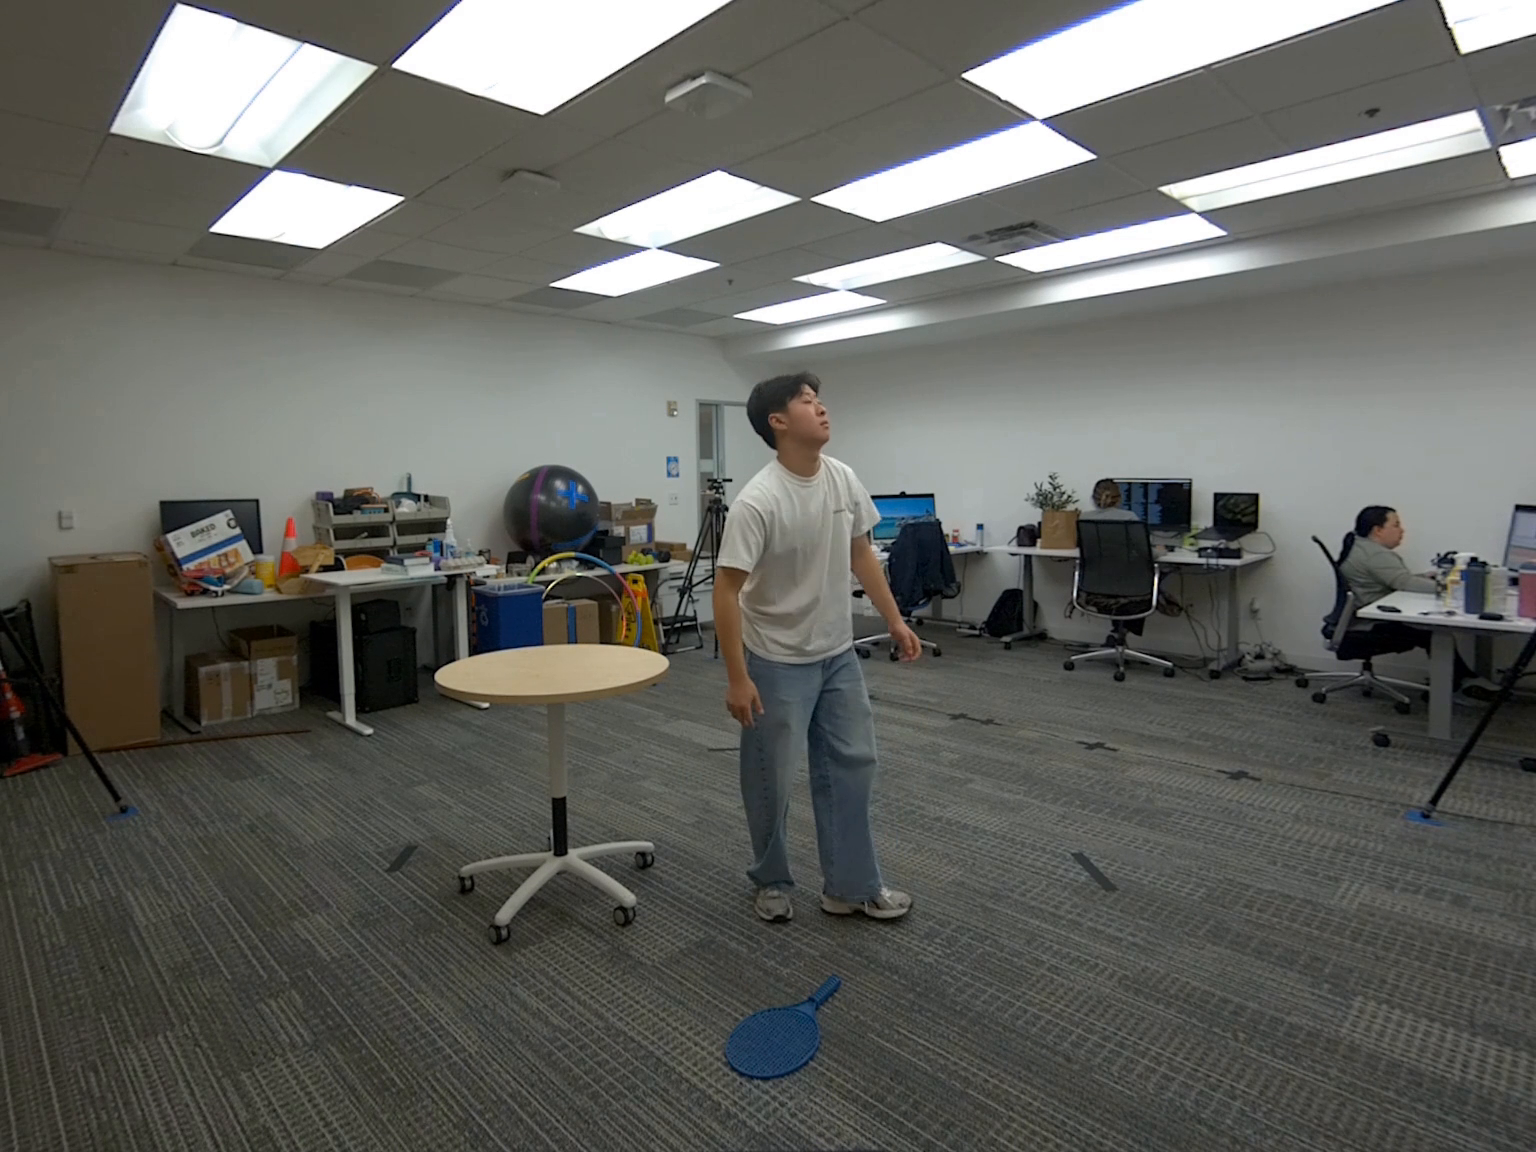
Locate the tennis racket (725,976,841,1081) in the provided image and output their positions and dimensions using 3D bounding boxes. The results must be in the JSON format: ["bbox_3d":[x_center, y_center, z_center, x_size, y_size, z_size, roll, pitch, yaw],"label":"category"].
[{"bbox_3d":[0.069,1.143,2.177,0.220,0.031,0.423,4,10,38],"label":"tennis racket"}]
